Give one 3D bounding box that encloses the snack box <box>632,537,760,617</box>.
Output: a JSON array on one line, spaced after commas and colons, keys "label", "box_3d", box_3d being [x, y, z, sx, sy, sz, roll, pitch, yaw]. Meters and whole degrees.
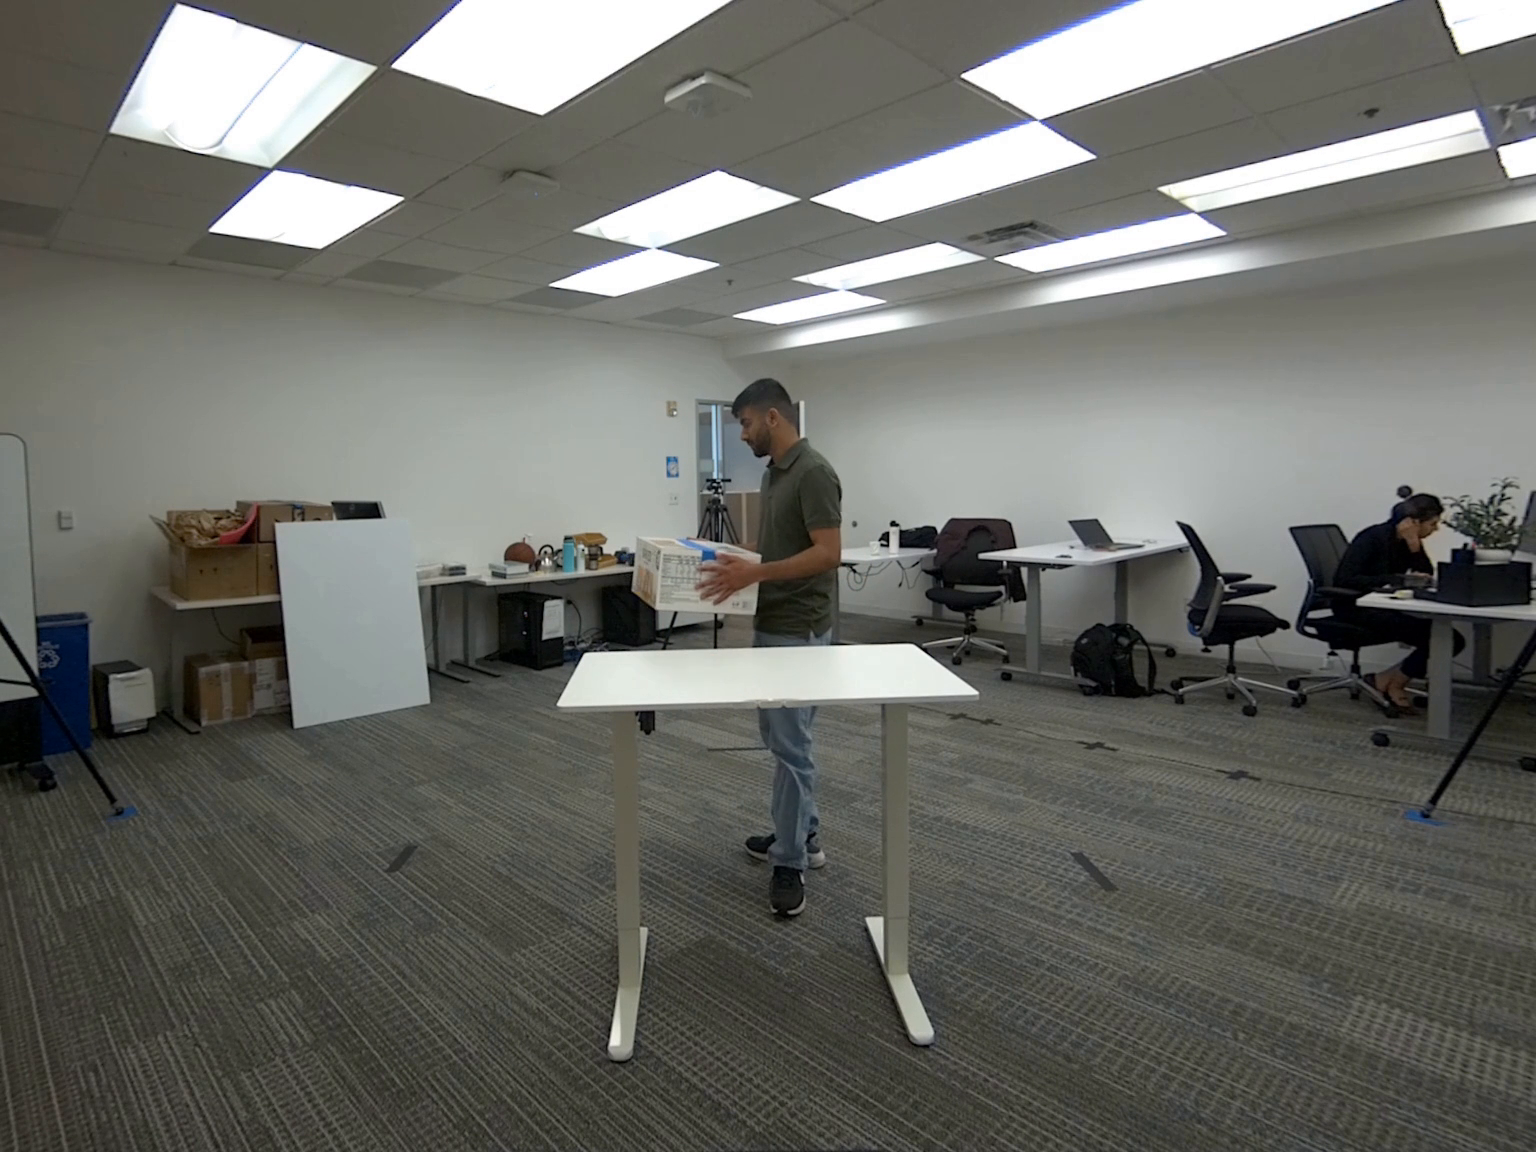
[{"label": "snack box", "box_3d": [-0.255, -0.010, 2.934, 0.334, 0.205, 0.414, 3, 6, -19]}]
